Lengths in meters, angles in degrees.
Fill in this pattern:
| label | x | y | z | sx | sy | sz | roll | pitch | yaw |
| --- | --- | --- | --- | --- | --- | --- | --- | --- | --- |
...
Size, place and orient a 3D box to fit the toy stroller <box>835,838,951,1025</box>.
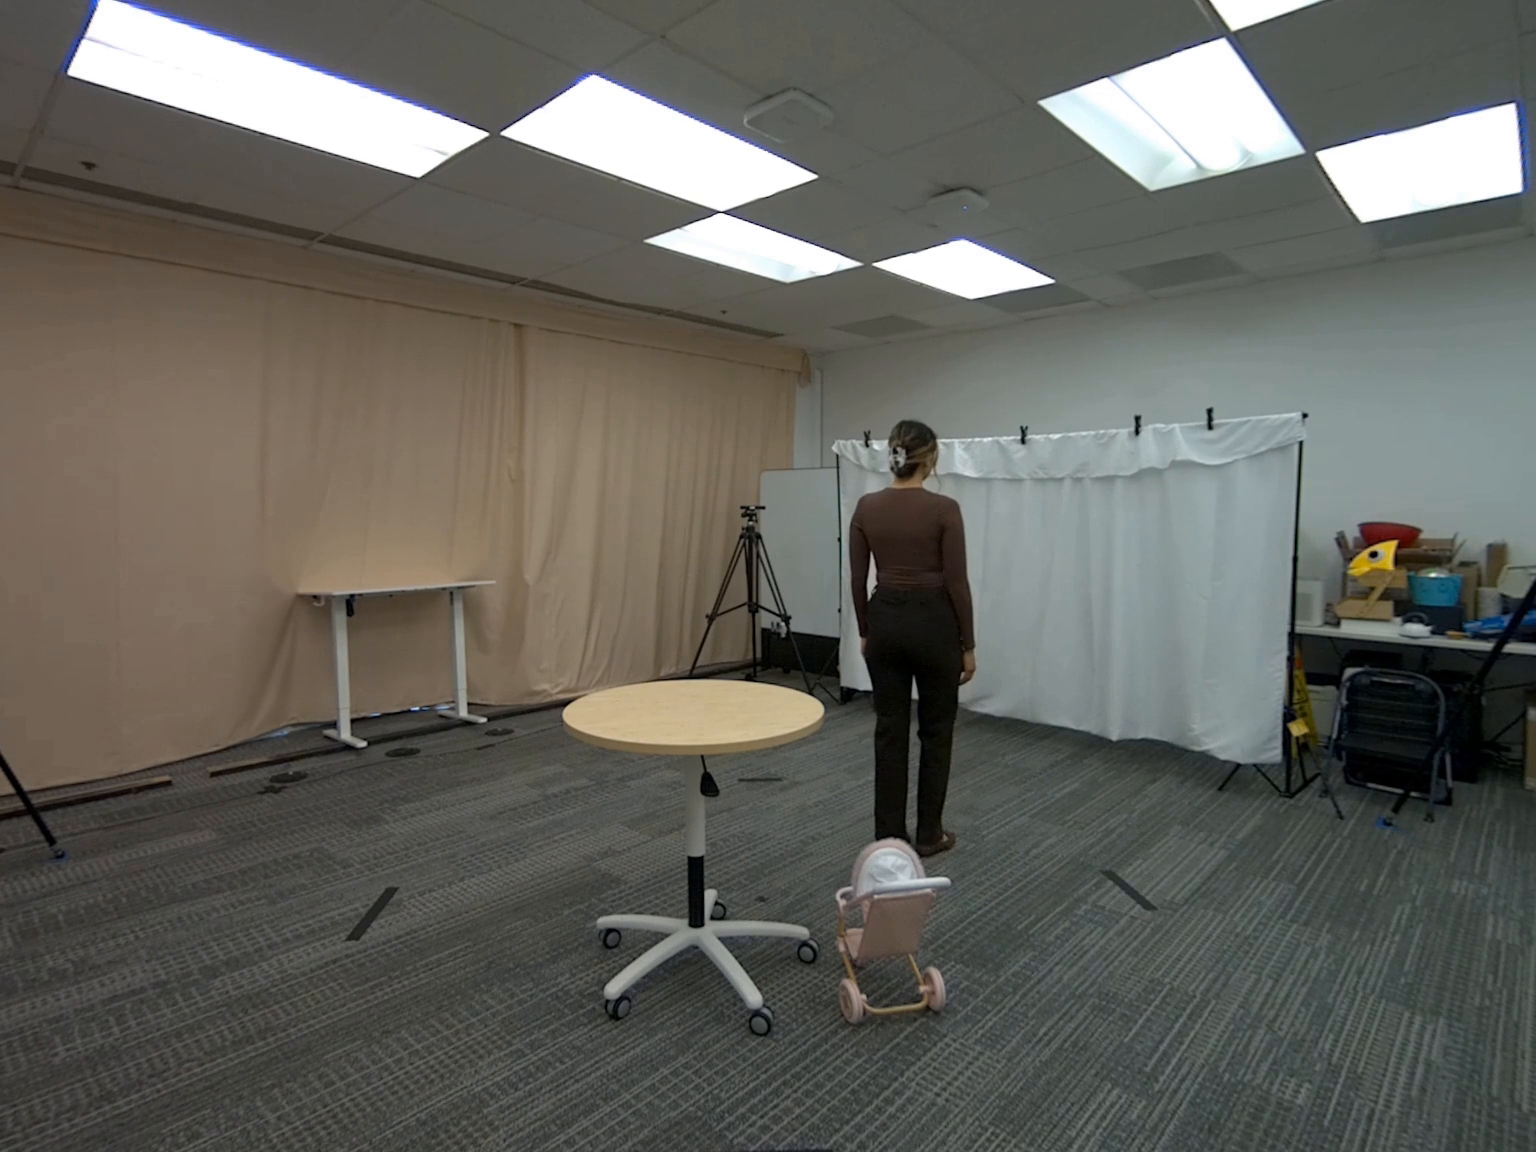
| label | x | y | z | sx | sy | sz | roll | pitch | yaw |
| --- | --- | --- | --- | --- | --- | --- | --- | --- | --- |
| toy stroller | 0.330 | 0.969 | 2.355 | 0.278 | 0.530 | 0.348 | 0 | 18 | -11 |
